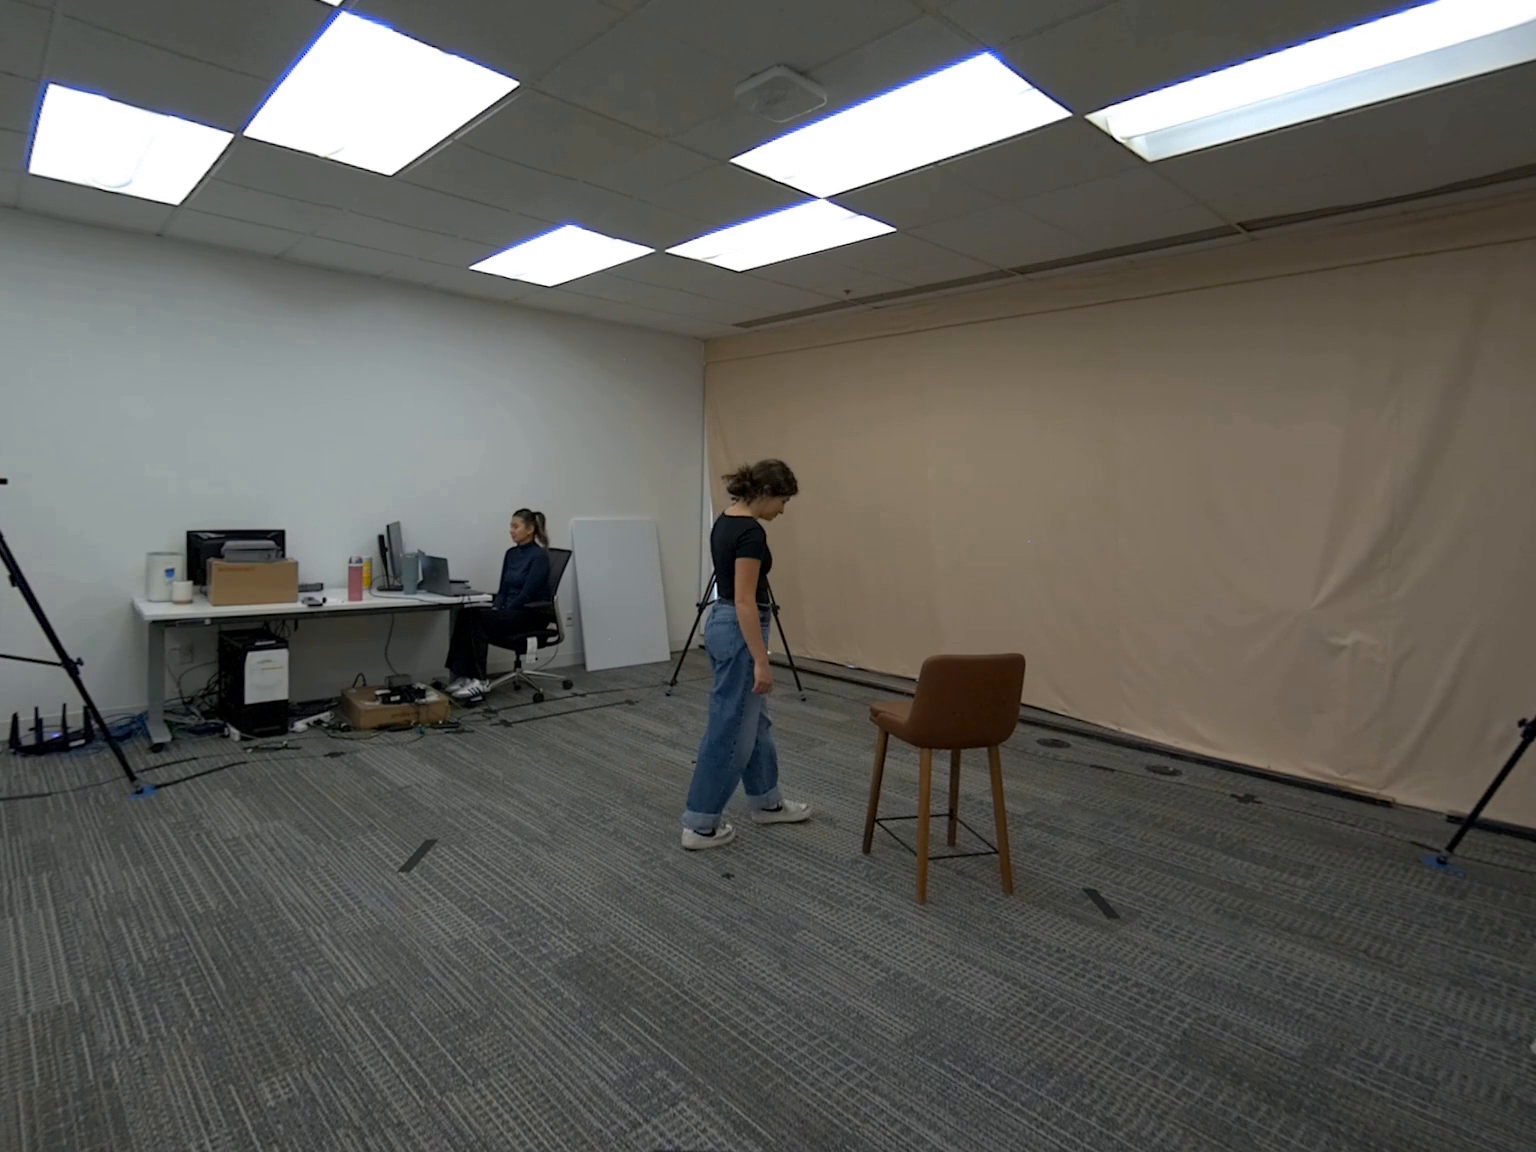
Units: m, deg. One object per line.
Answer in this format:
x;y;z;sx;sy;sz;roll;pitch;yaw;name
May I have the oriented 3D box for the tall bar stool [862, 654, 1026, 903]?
0.643;0.683;3.152;0.450;0.886;0.475;1;5;-17;tall bar stool
